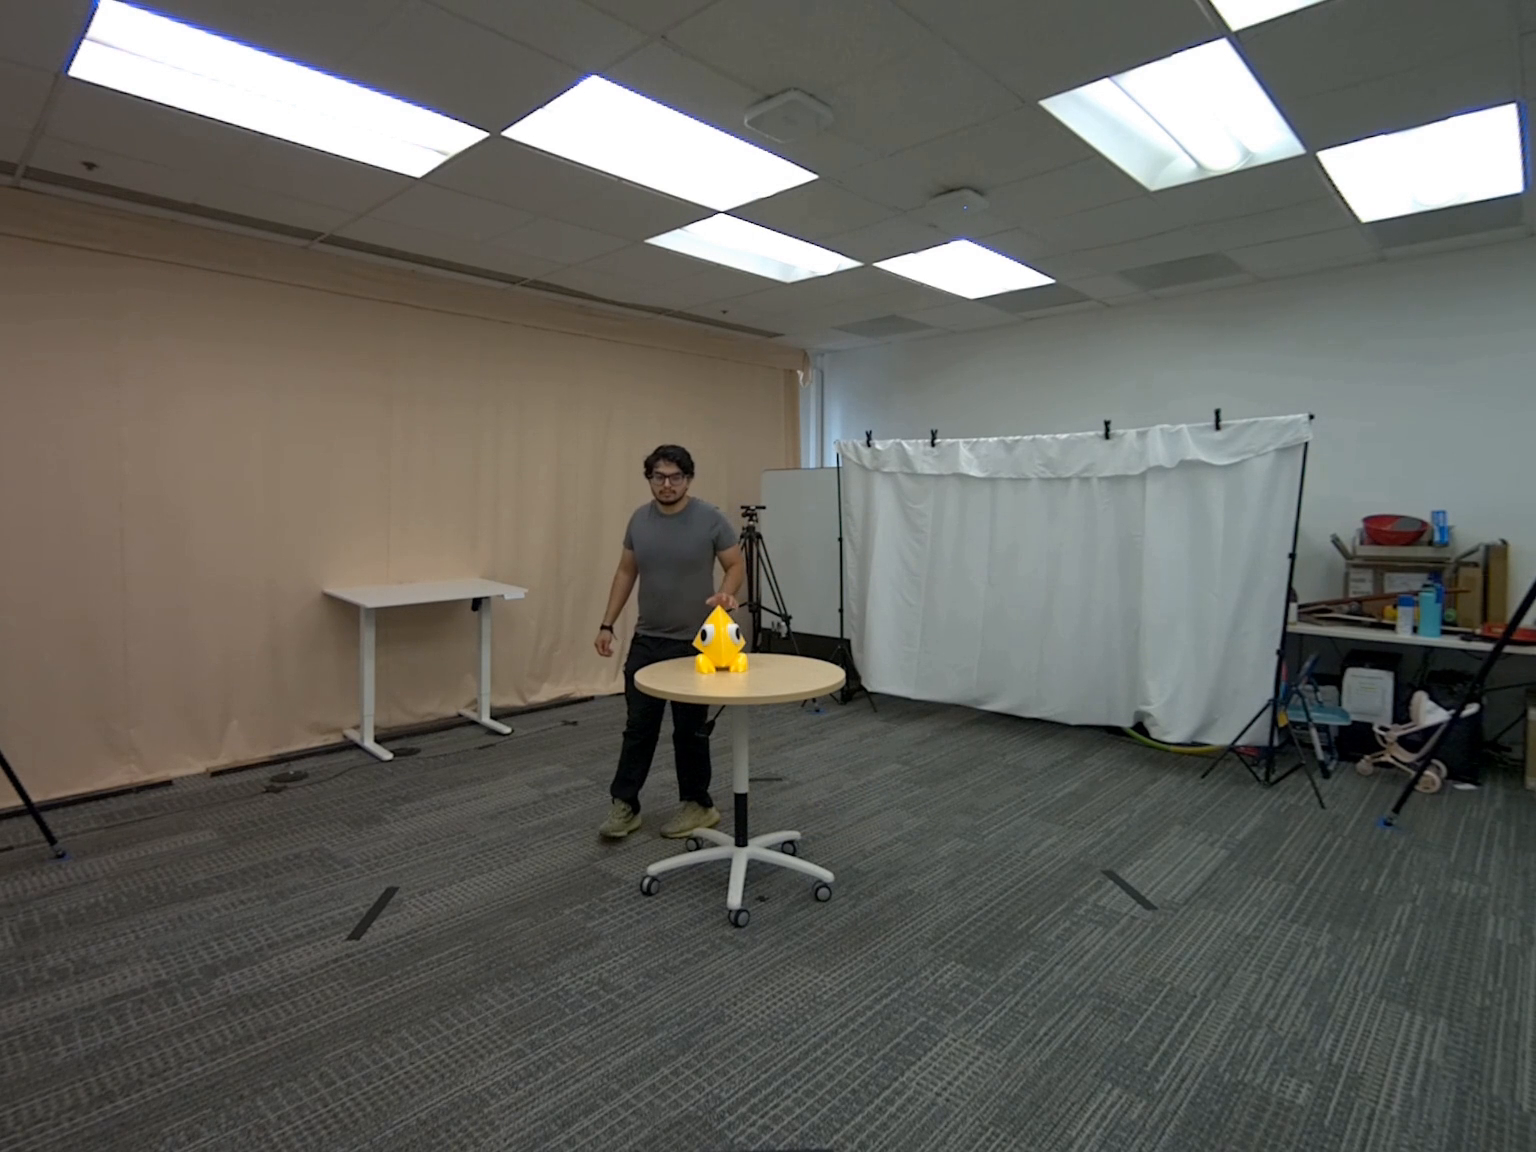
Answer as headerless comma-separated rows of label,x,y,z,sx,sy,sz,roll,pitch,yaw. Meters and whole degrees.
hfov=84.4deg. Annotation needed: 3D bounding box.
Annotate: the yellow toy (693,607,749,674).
yellow toy,-0.175,0.231,3.161,0.204,0.230,0.194,0,2,-6
